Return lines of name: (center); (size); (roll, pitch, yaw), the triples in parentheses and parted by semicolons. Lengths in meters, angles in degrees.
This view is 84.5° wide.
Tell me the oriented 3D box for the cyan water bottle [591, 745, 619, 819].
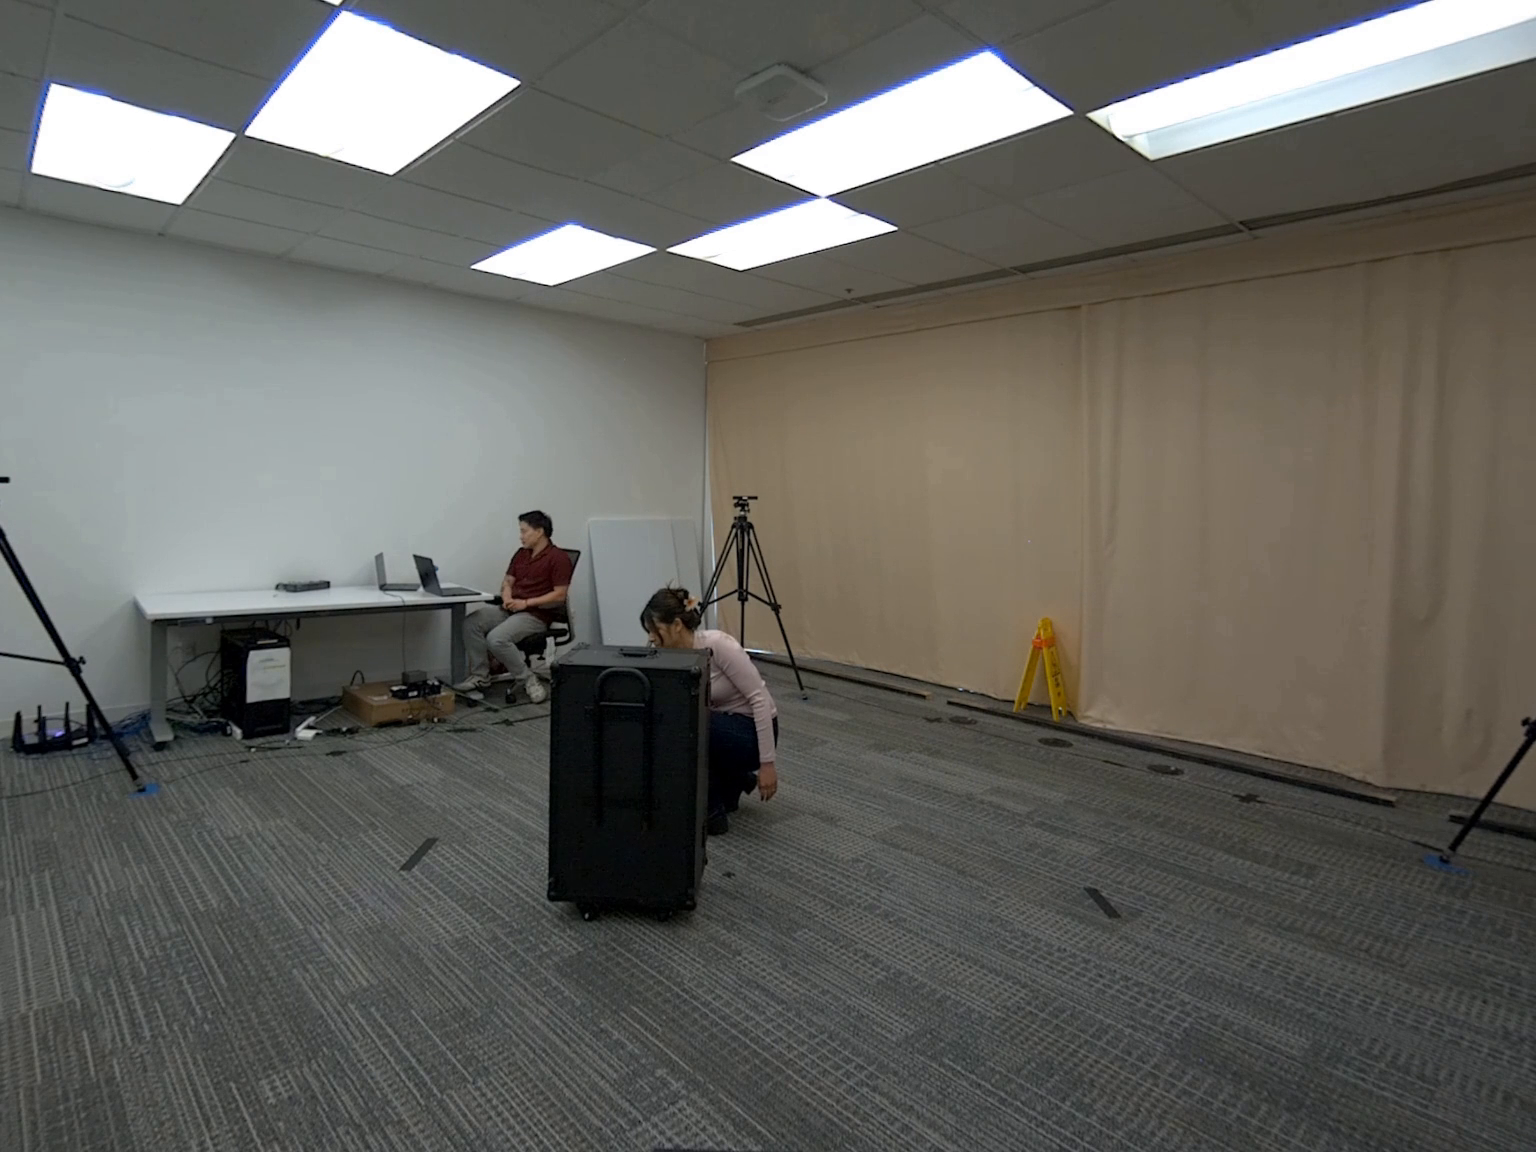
cyan water bottle: (-0.699, 0.879, 3.629); (0.092, 0.283, 0.092); (-2, 1, -1)
